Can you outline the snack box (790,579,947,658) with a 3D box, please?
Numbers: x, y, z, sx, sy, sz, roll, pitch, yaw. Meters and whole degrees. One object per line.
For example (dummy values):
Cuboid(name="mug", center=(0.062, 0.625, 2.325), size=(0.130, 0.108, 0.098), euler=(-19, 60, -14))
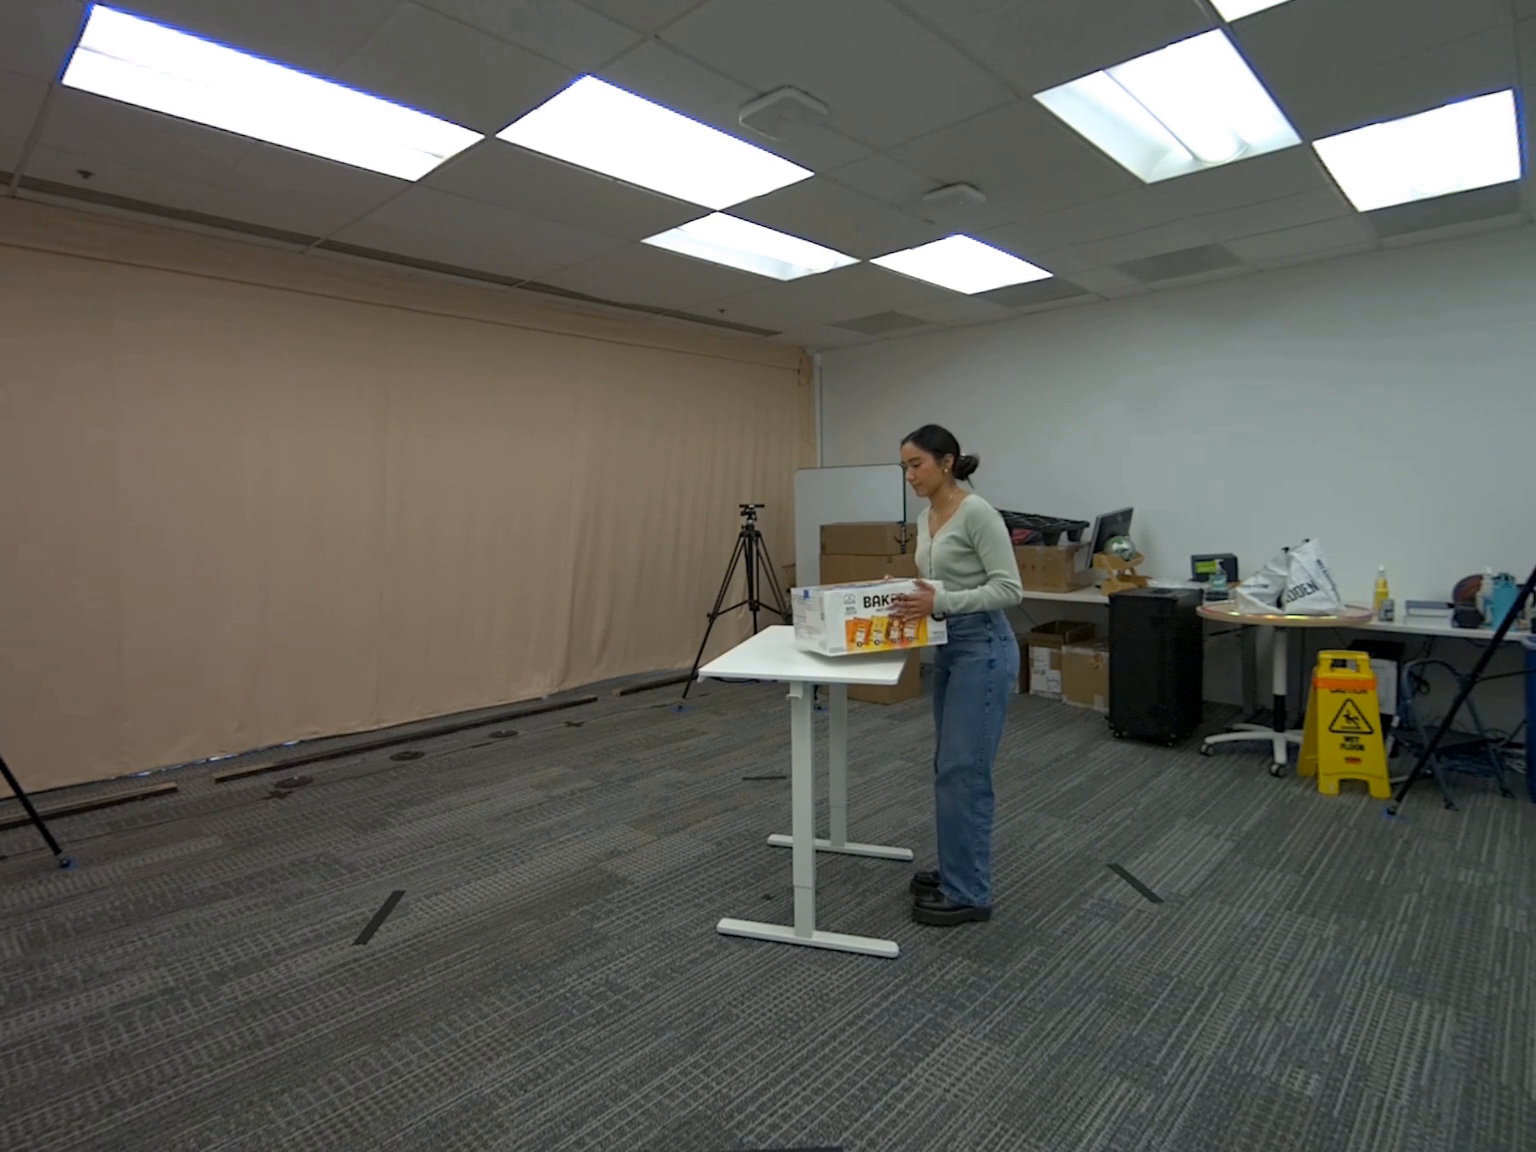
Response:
Cuboid(name="snack box", center=(0.329, 0.127, 2.801), size=(0.400, 0.206, 0.345), euler=(-5, 1, -14))
